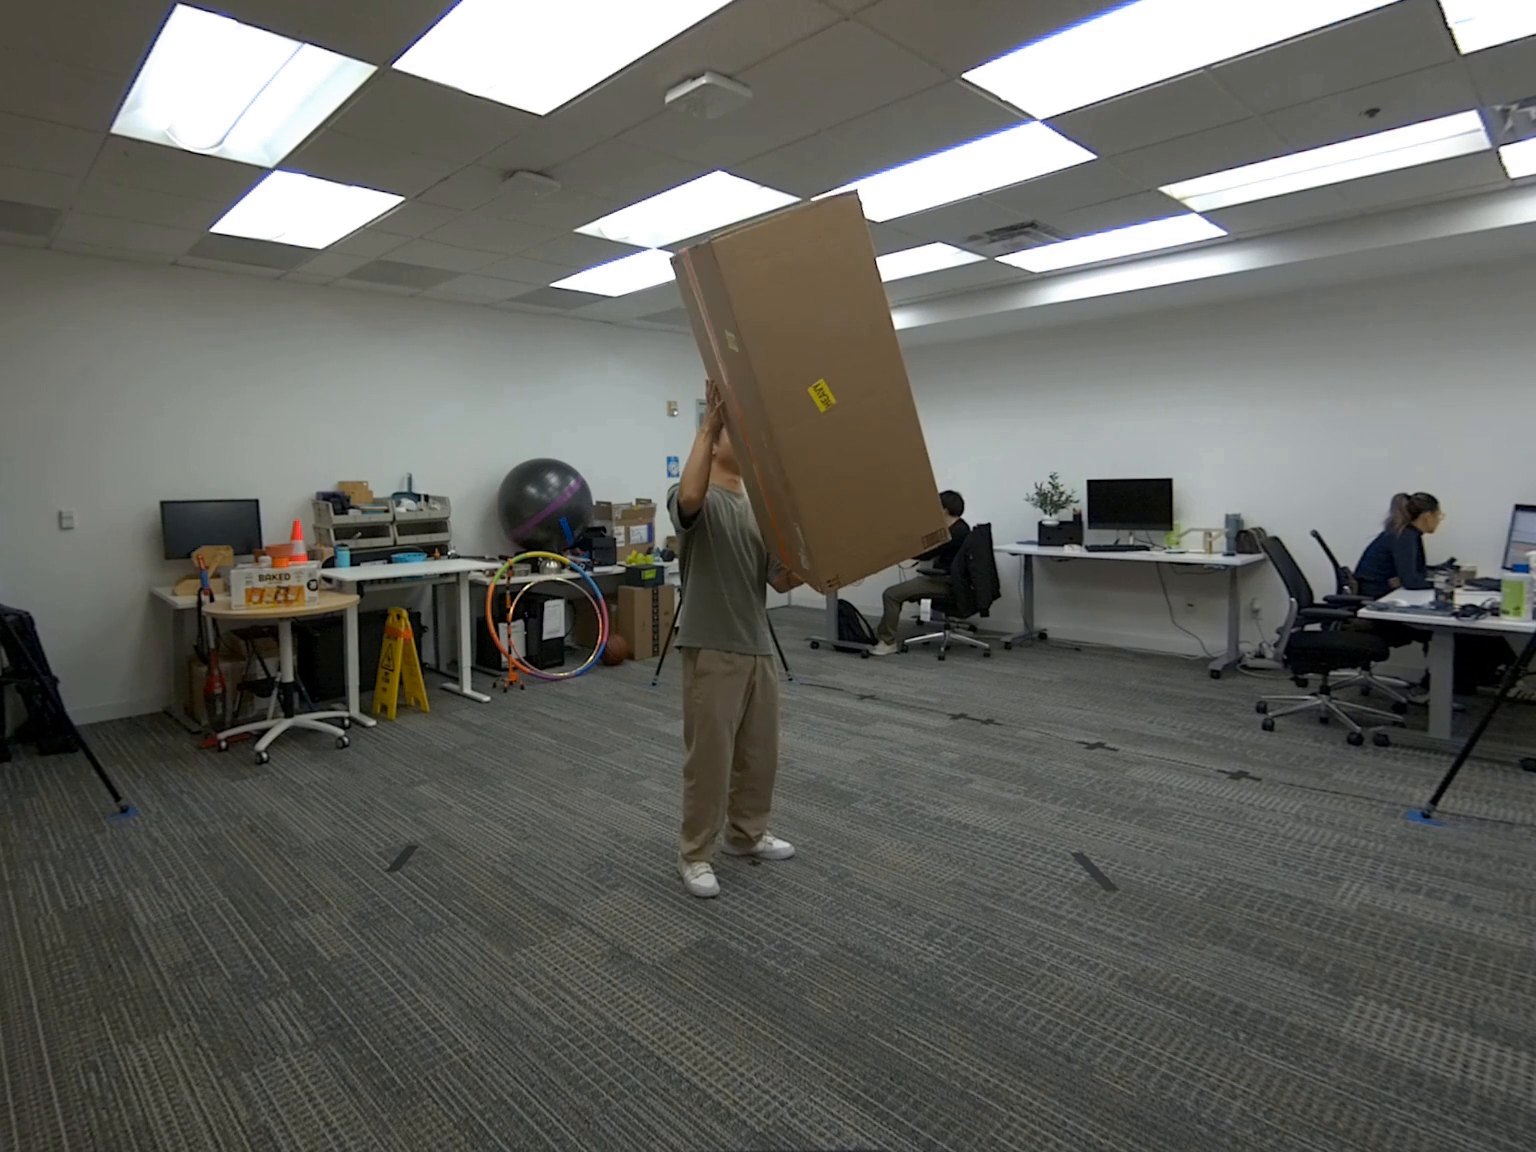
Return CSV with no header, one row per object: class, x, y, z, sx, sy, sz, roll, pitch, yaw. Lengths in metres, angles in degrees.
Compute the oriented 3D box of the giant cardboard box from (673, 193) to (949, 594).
giant cardboard box,0.109,-0.548,2.580,0.424,1.005,0.593,-22,19,-10
